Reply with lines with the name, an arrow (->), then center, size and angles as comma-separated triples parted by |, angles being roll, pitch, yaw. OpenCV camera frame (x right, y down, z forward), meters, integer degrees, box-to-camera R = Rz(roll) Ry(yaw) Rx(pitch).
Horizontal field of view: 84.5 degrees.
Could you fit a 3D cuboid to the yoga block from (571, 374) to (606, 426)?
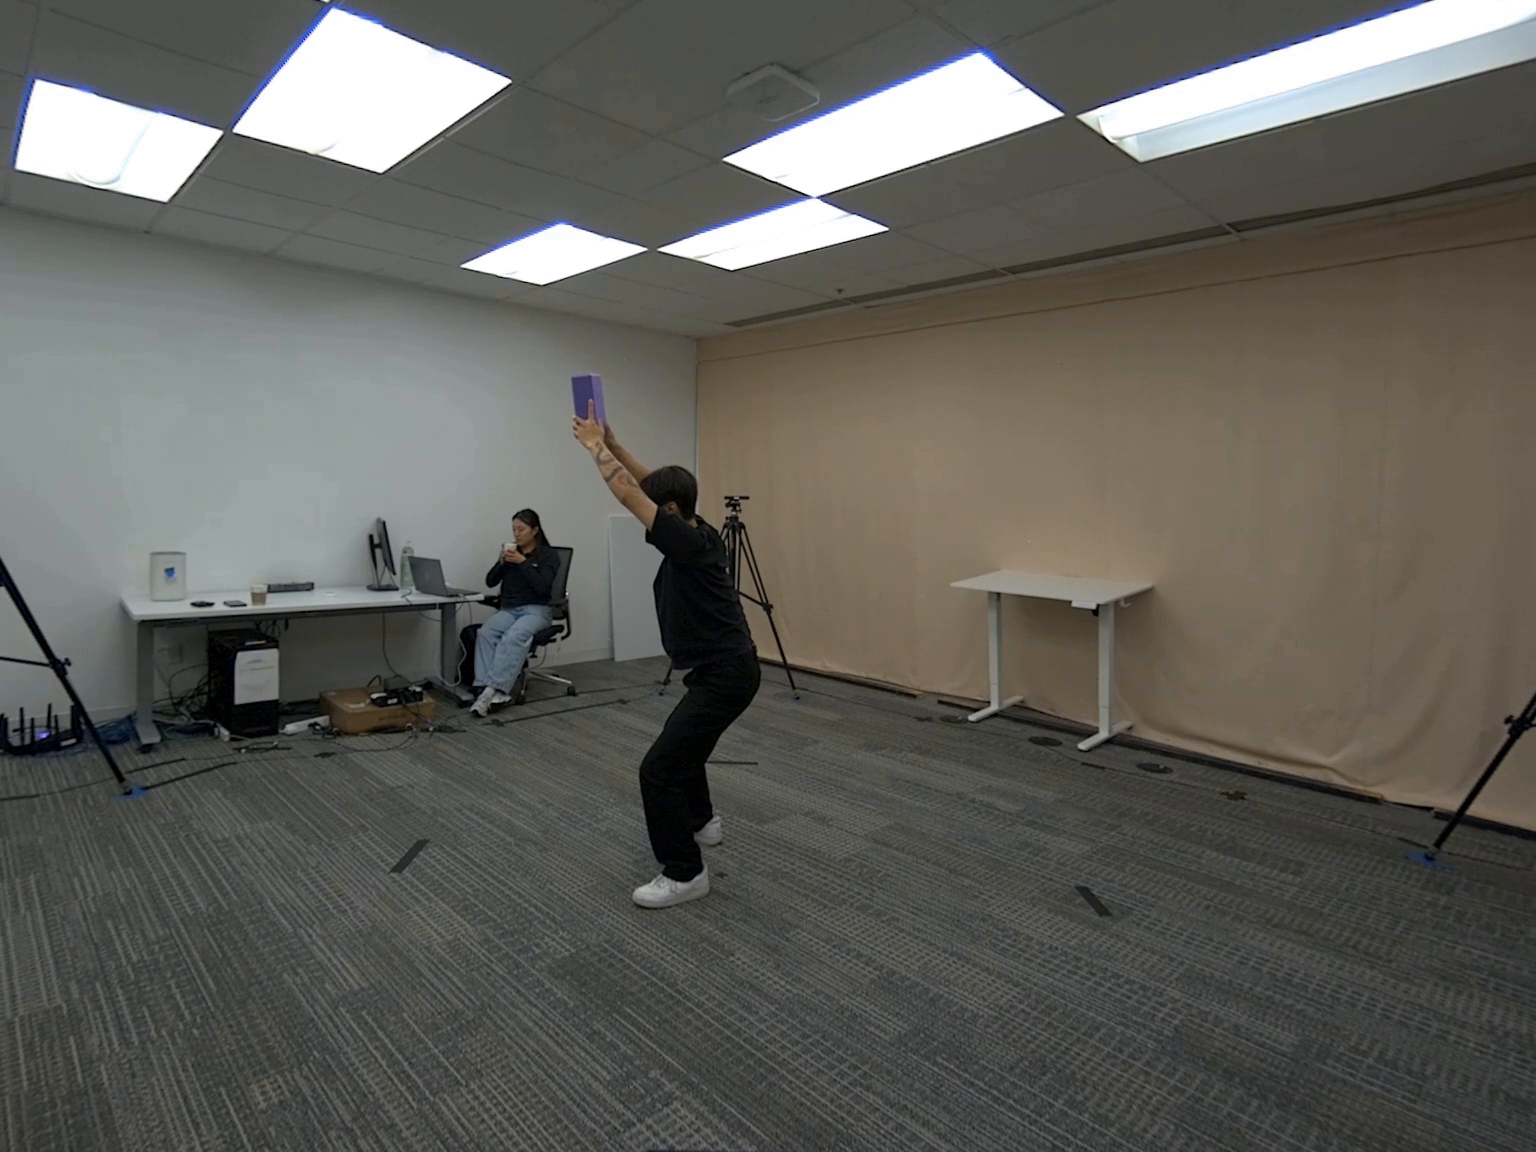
yoga block -> -0.665, -0.623, 3.069 | 0.077, 0.227, 0.149 | -4, 11, 5
